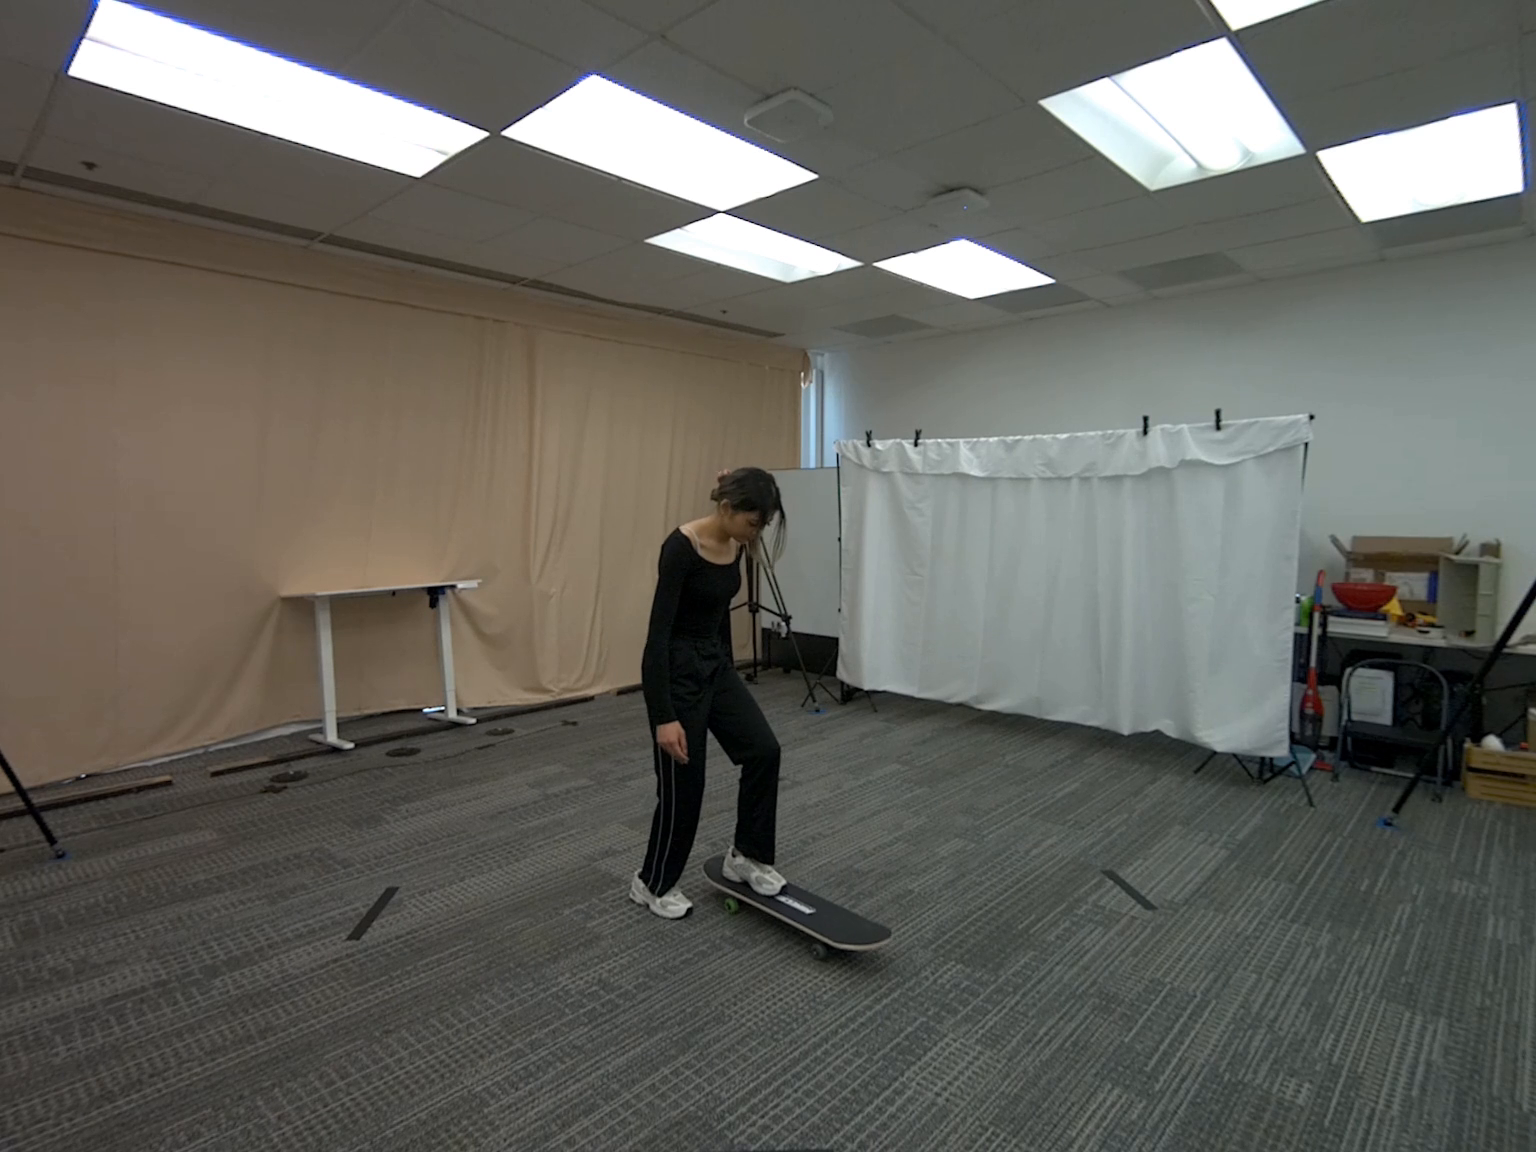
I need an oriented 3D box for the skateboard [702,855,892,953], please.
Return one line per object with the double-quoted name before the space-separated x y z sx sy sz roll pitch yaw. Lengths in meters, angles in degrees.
"skateboard" 0.080 1.106 2.777 0.187 0.110 0.812 -5 6 -43
